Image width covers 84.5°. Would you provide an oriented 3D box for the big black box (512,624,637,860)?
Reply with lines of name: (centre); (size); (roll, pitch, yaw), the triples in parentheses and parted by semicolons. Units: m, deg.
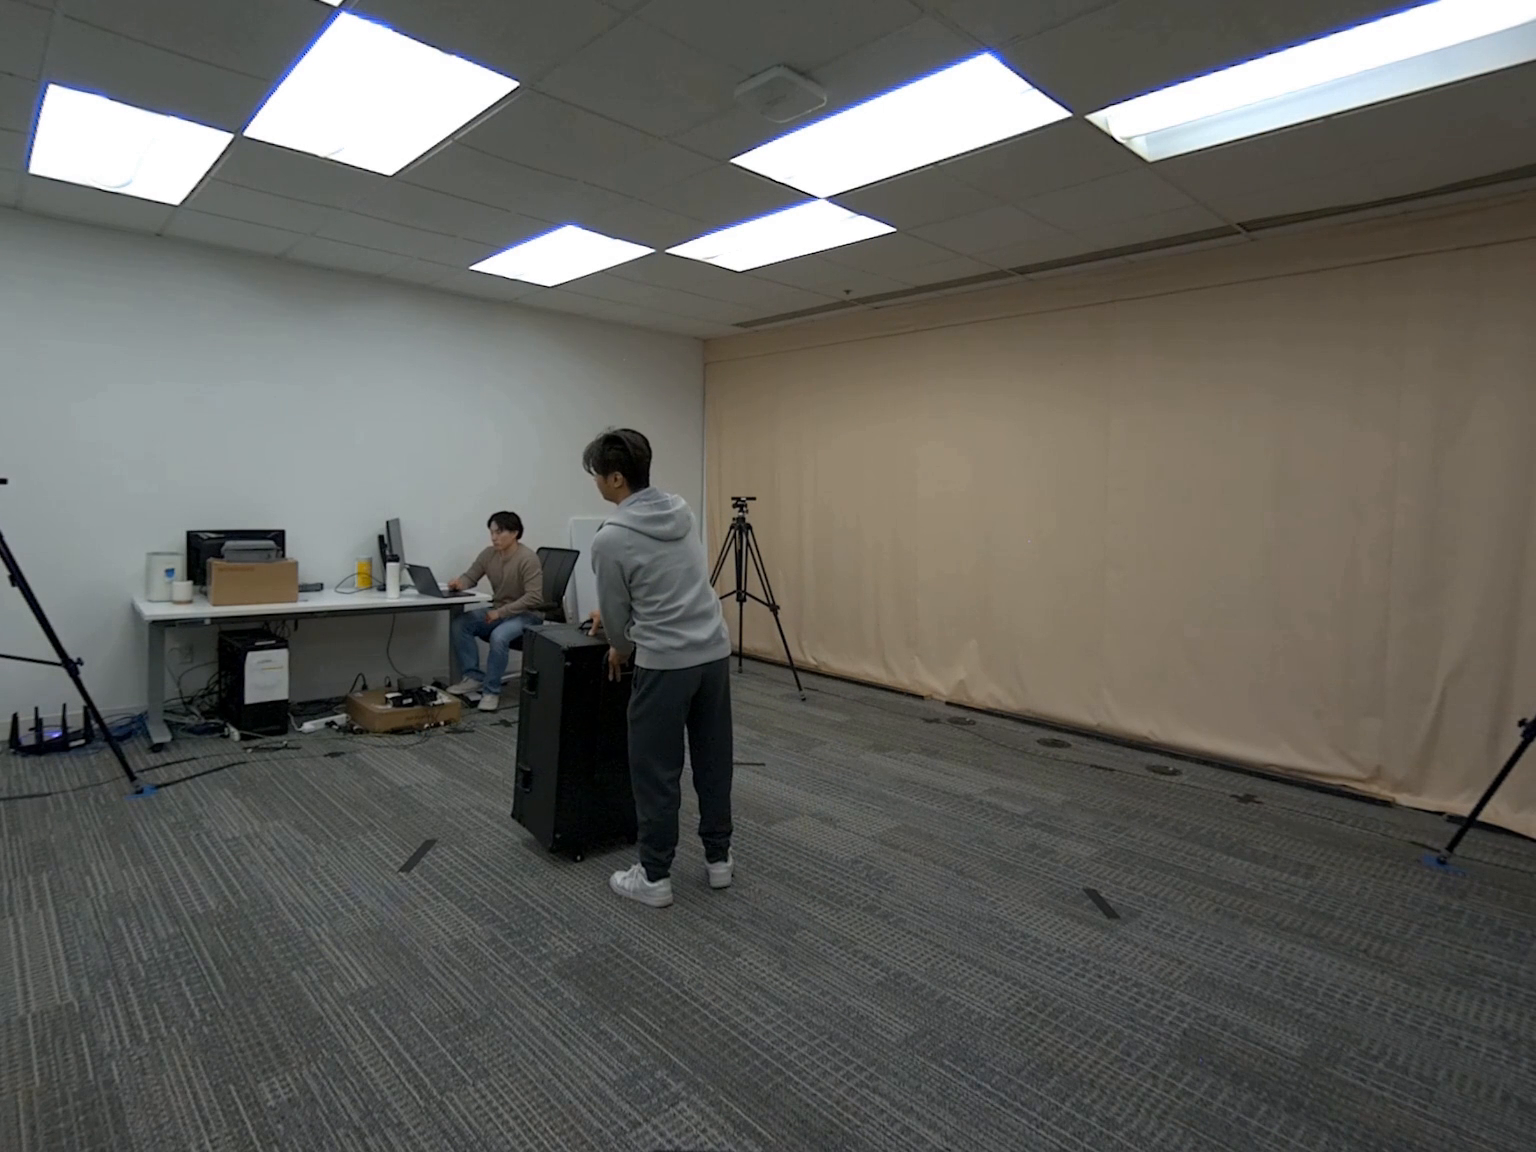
big black box: (-0.695, 0.641, 3.335); (0.509, 0.857, 0.407); (0, 10, -40)
